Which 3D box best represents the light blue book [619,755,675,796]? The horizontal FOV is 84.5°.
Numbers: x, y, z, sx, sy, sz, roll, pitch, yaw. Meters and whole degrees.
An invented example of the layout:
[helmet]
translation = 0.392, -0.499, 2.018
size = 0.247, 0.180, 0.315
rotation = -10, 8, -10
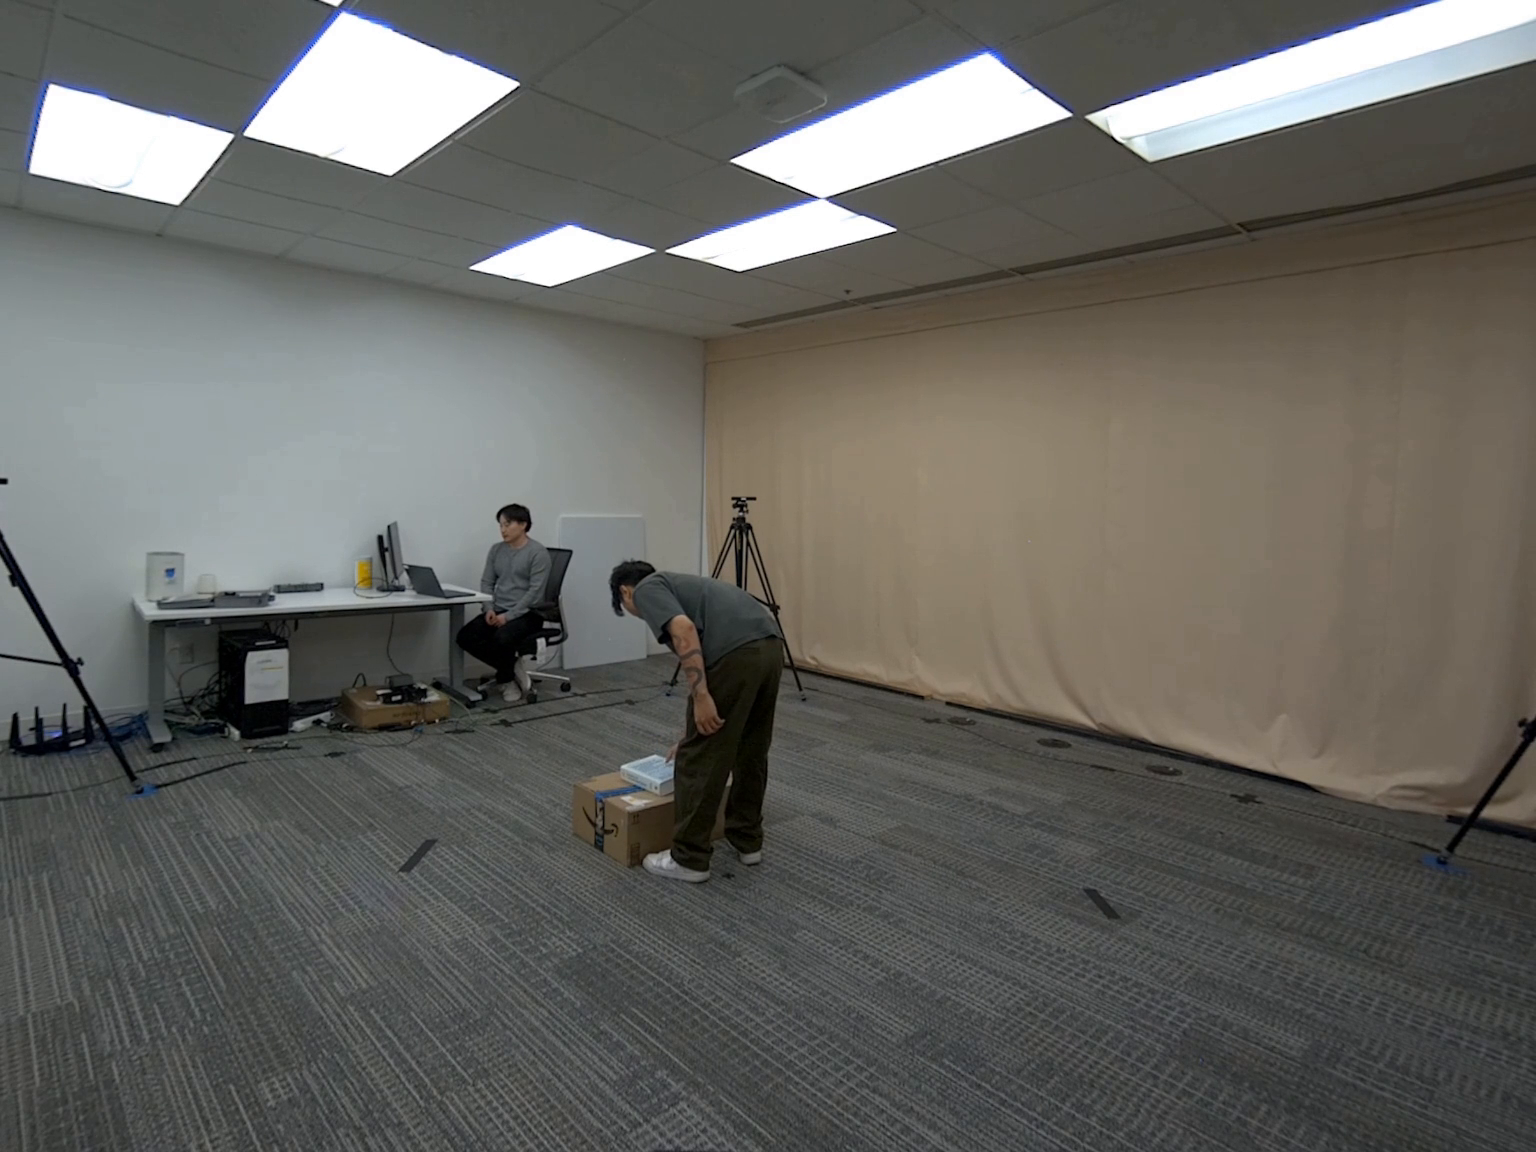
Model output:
[light blue book]
translation = -0.465, 0.817, 3.477
size = 0.268, 0.059, 0.187
rotation = 7, 11, 44
